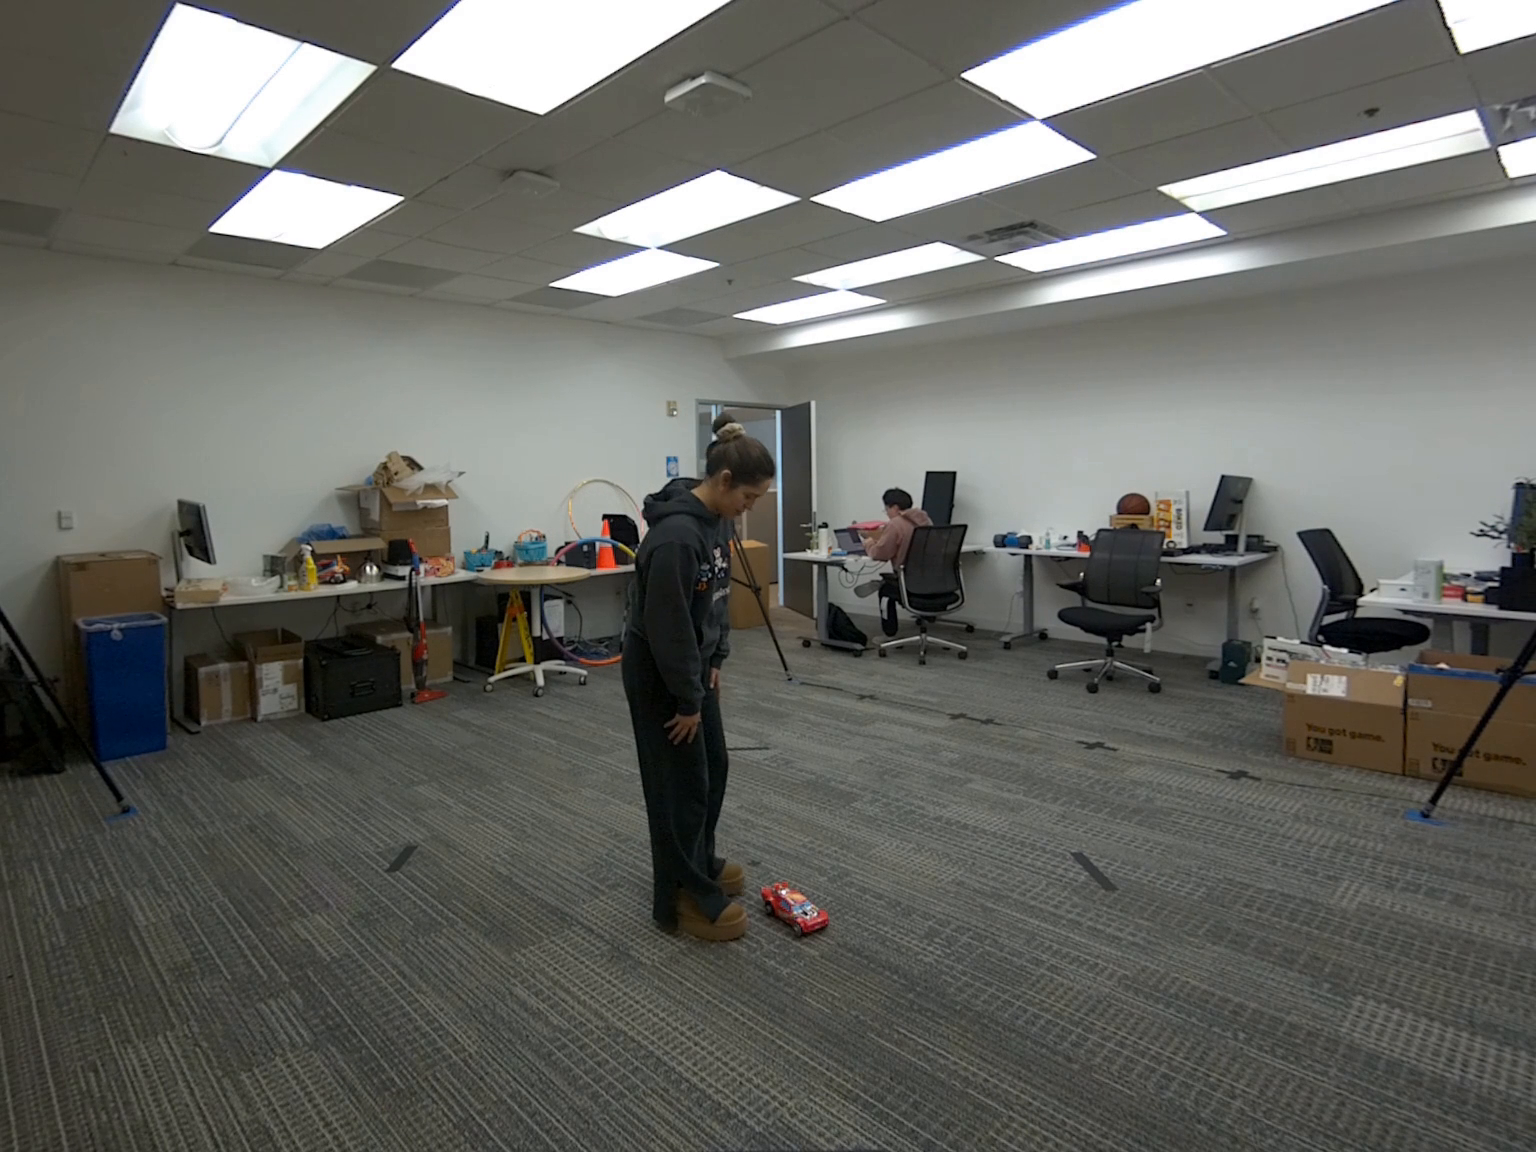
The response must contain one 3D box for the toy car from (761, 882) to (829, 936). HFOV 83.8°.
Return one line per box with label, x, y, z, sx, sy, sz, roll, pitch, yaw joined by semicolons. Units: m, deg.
toy car;0.079;1.052;2.691;0.127;0.082;0.264;-4;17;-33
